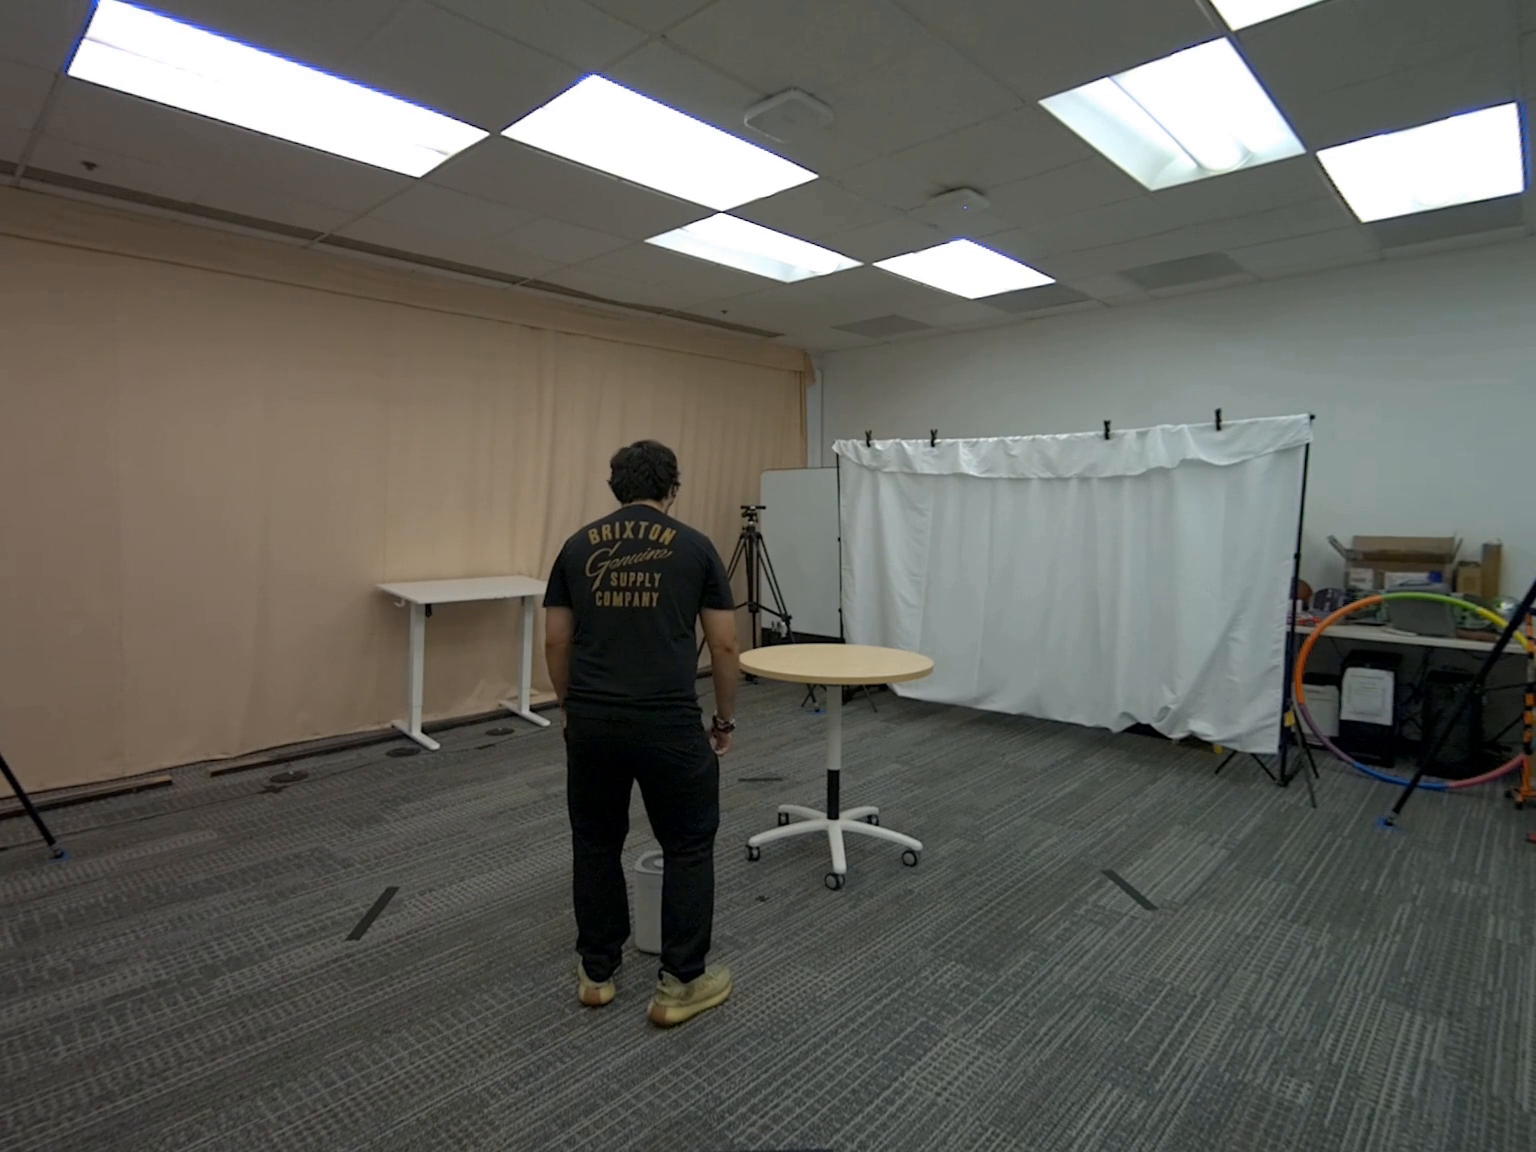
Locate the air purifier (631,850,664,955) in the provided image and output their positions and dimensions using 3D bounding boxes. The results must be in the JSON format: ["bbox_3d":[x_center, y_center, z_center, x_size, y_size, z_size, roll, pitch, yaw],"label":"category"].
[{"bbox_3d":[-0.331,1.038,2.668,0.170,0.262,0.171,0,2,13],"label":"air purifier"}]
